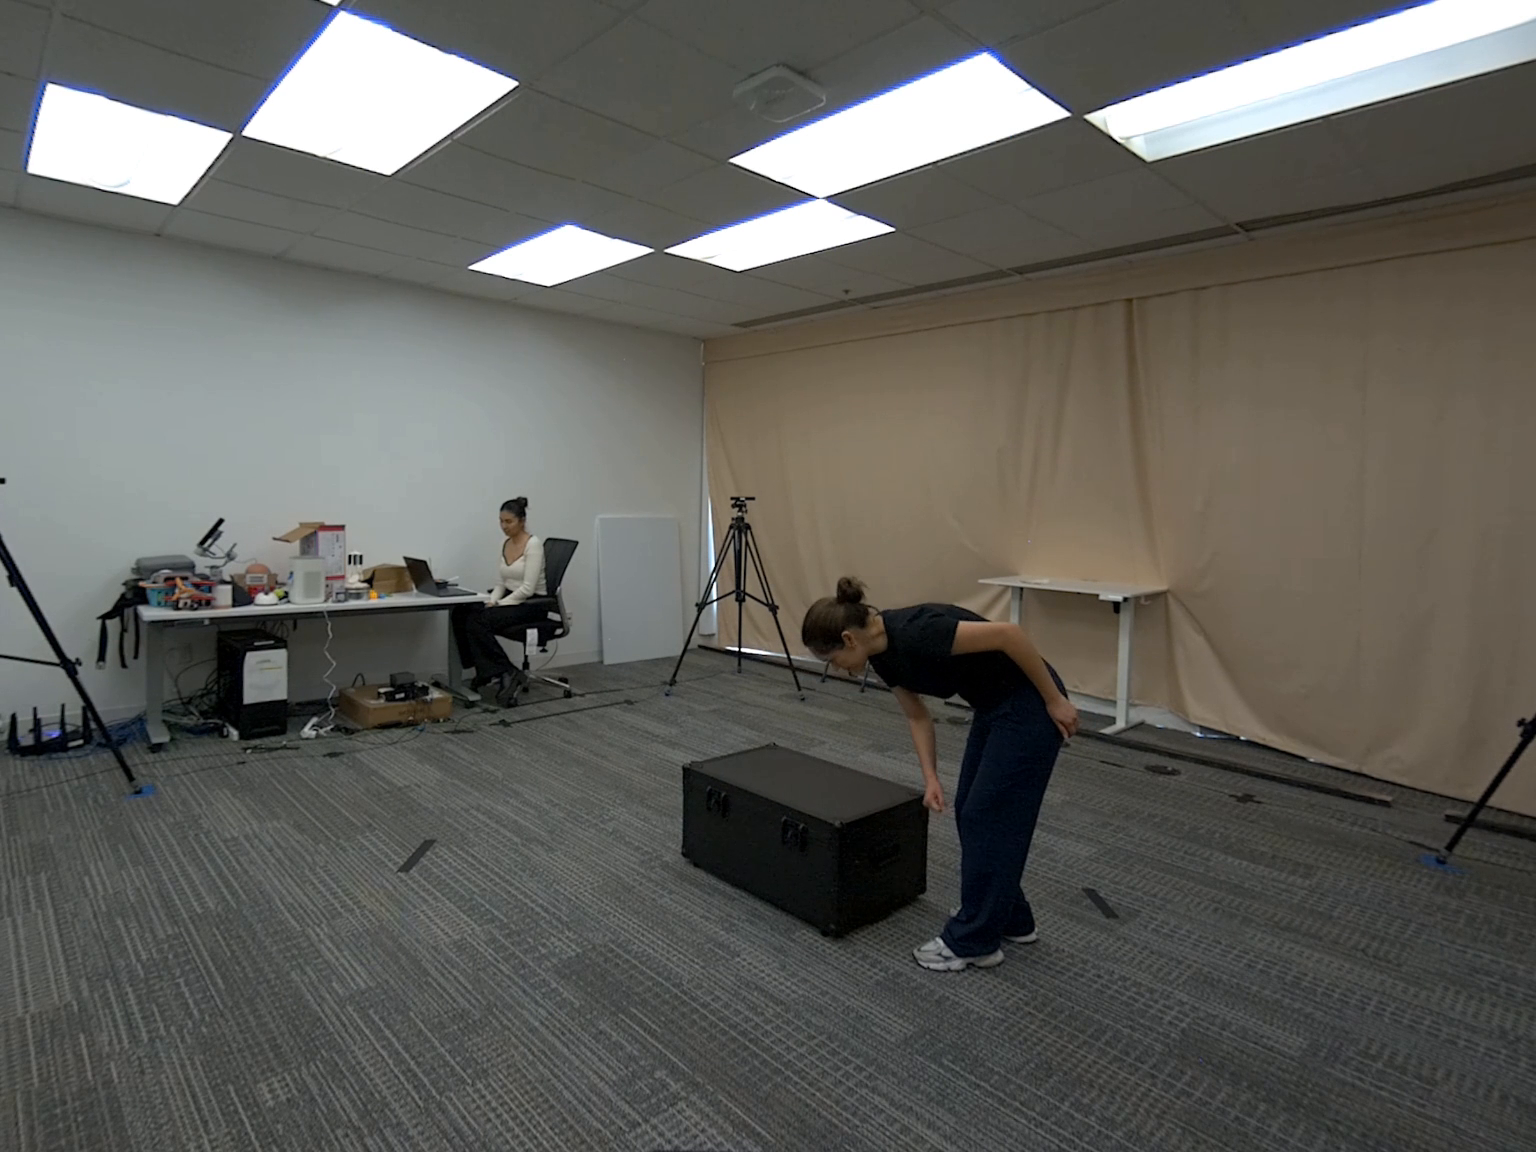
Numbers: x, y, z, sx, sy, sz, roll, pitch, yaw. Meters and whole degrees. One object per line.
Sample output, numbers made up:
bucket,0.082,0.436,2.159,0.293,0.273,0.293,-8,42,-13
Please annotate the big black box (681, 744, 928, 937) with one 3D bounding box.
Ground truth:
big black box,0.093,0.923,3.091,0.509,0.395,0.884,-2,6,-44
